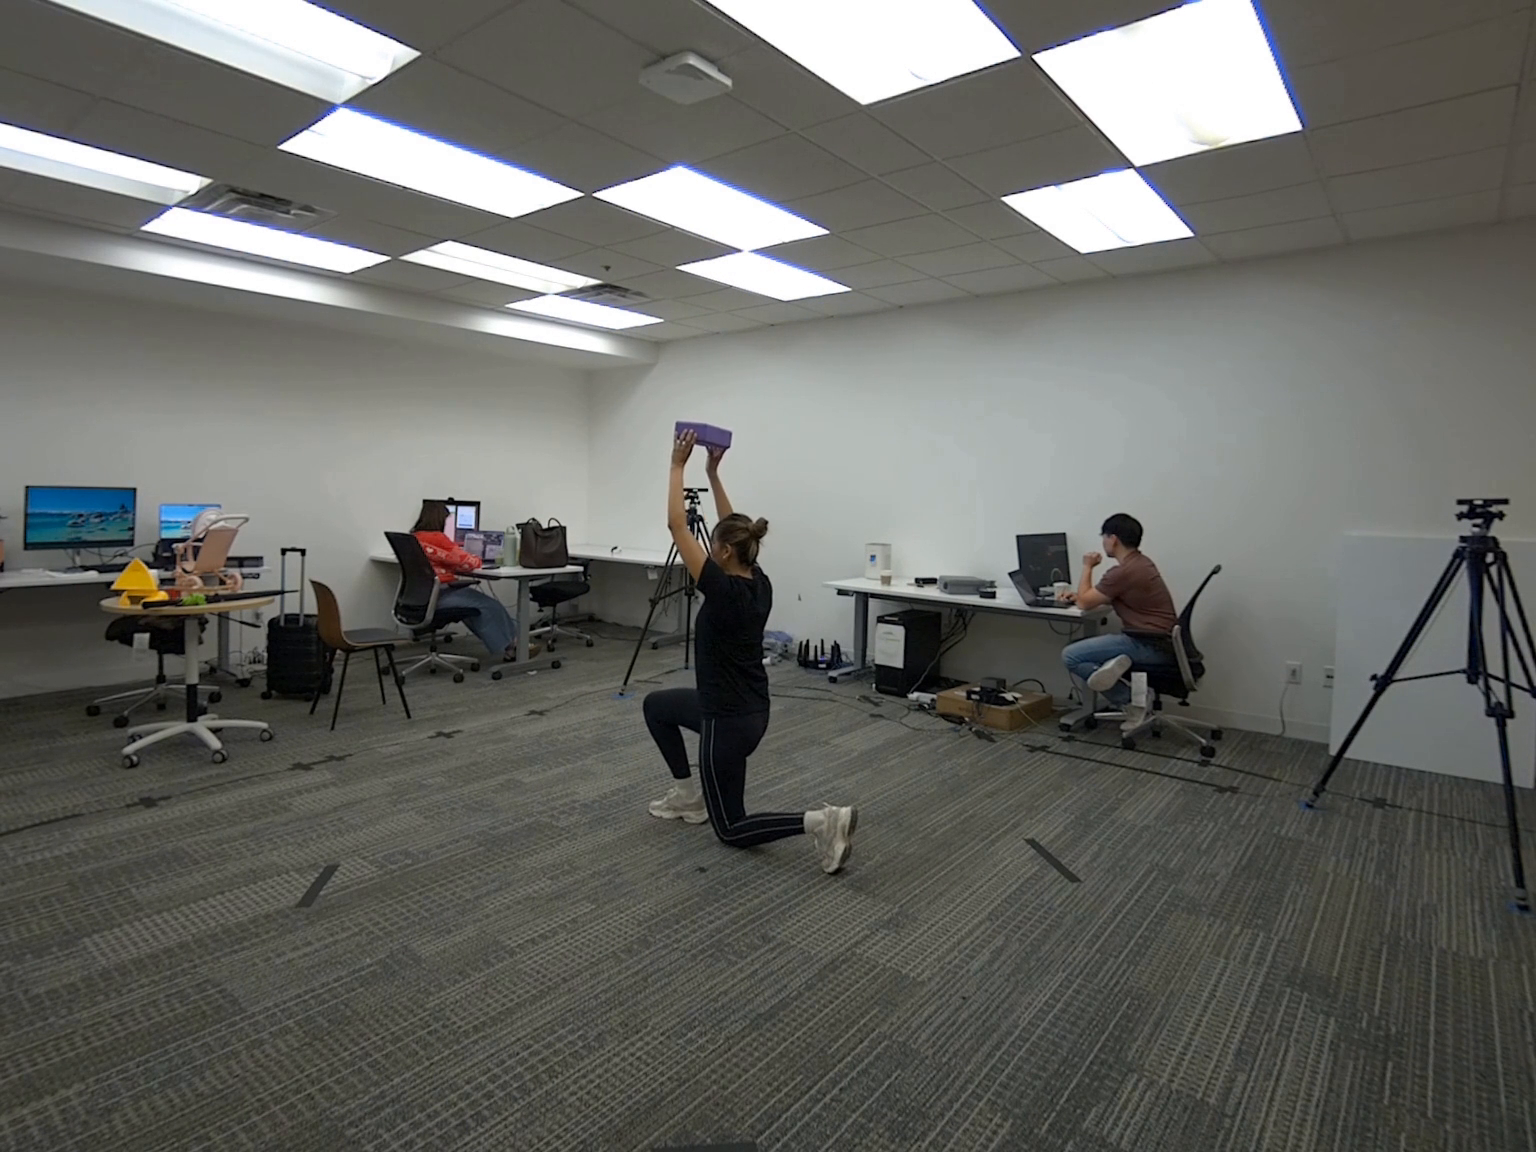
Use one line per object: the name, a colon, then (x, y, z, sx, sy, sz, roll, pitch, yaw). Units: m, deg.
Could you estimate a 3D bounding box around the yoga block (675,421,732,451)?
yoga block: (-0.276, -0.591, 3.480, 0.153, 0.076, 0.223, 10, 5, 28)
